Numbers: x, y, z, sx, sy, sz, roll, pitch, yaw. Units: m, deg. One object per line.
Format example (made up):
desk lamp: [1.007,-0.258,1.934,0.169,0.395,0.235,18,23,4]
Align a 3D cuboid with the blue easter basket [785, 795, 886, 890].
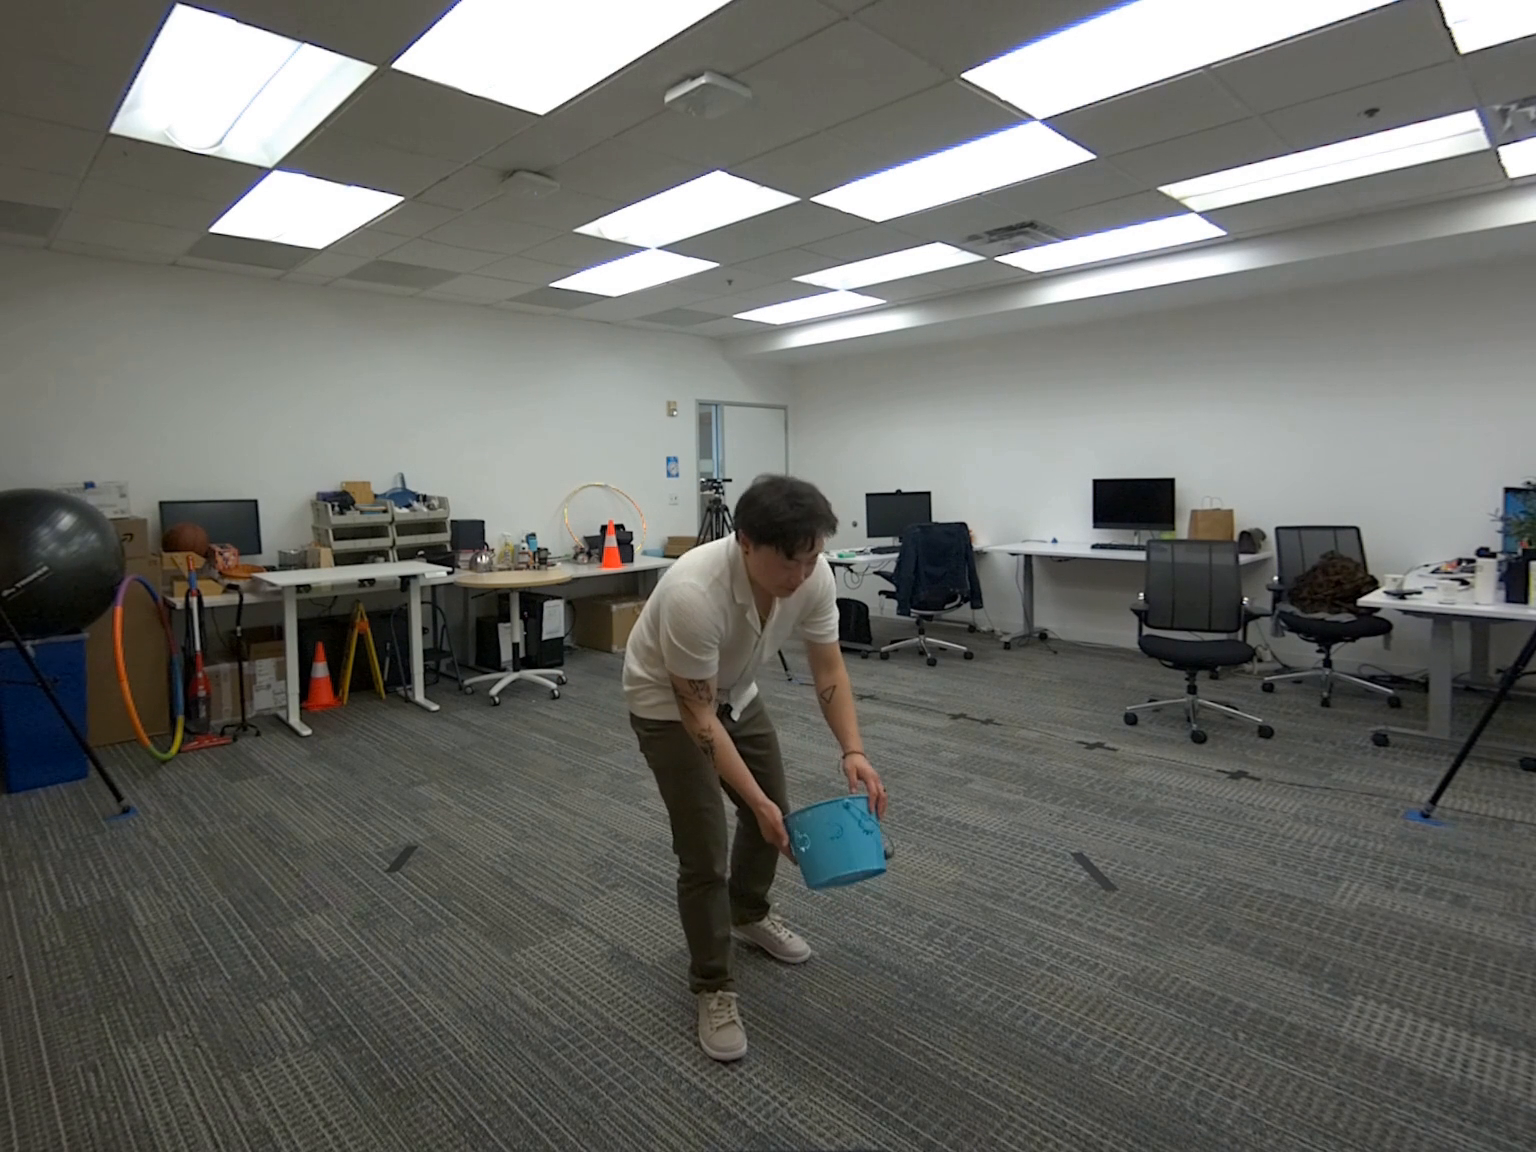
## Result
blue easter basket: [0.167,0.602,1.931,0.242,0.160,0.238,-9,-28,-7]
